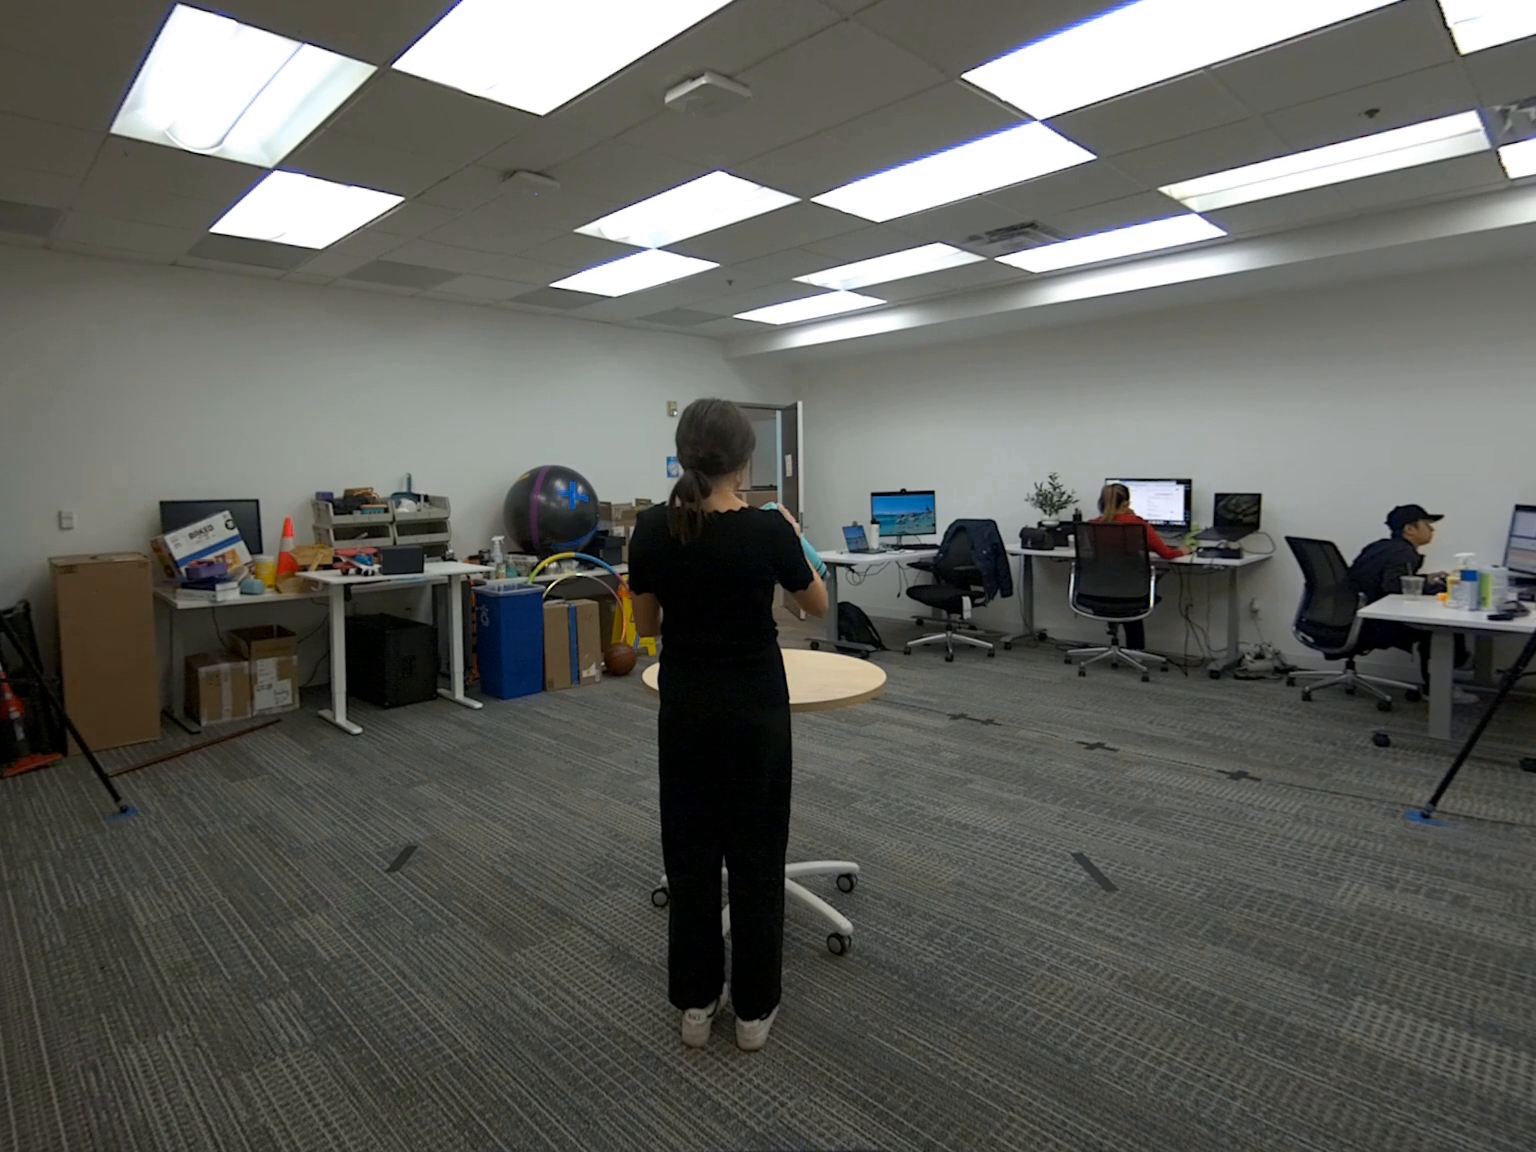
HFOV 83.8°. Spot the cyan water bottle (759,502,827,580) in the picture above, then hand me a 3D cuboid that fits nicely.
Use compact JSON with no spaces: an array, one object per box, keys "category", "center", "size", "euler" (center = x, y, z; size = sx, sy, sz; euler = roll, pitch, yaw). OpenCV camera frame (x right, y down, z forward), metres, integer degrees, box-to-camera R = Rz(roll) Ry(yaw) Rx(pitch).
[{"category":"cyan water bottle","center":[0.075,-0.079,2.470],"size":[0.092,0.278,0.094],"euler":[-37,14,10]}]
